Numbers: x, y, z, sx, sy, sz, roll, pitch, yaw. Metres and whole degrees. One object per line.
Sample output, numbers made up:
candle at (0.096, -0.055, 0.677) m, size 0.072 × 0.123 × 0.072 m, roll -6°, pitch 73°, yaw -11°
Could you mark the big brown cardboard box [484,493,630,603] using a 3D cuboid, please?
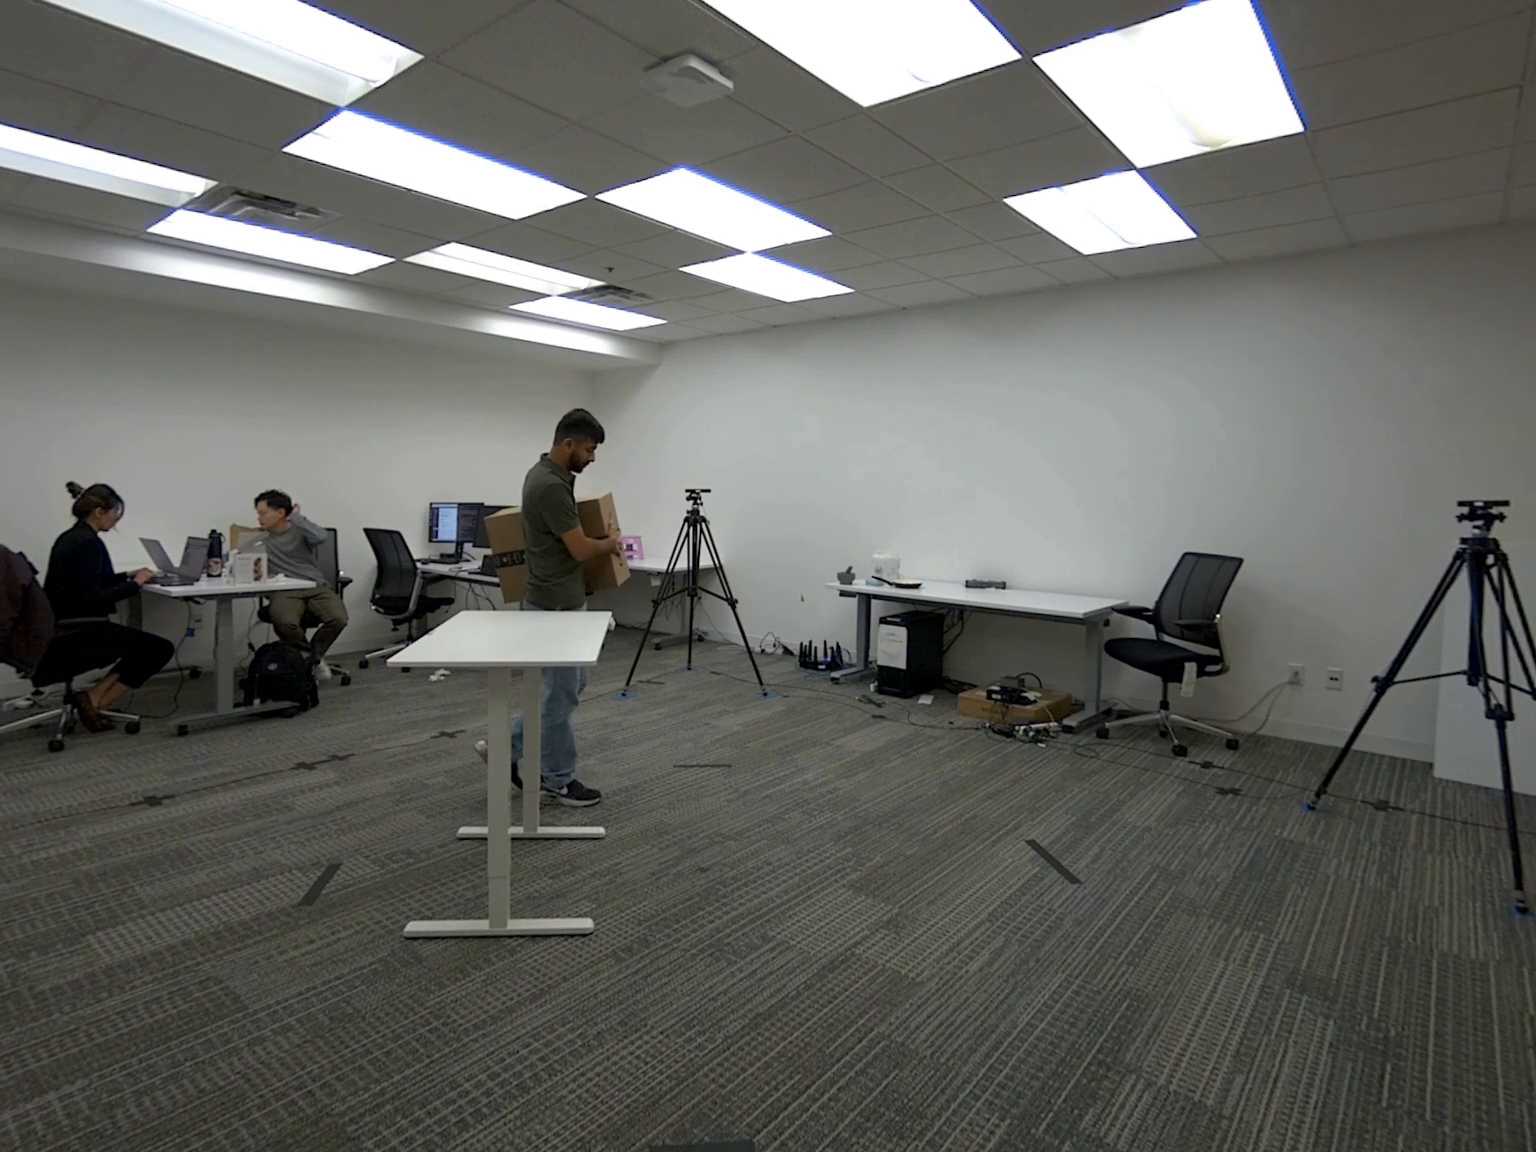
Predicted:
big brown cardboard box at (-1.008, -0.143, 3.983) m, size 0.595 × 0.413 × 0.233 m, roll -6°, pitch 10°, yaw 11°
